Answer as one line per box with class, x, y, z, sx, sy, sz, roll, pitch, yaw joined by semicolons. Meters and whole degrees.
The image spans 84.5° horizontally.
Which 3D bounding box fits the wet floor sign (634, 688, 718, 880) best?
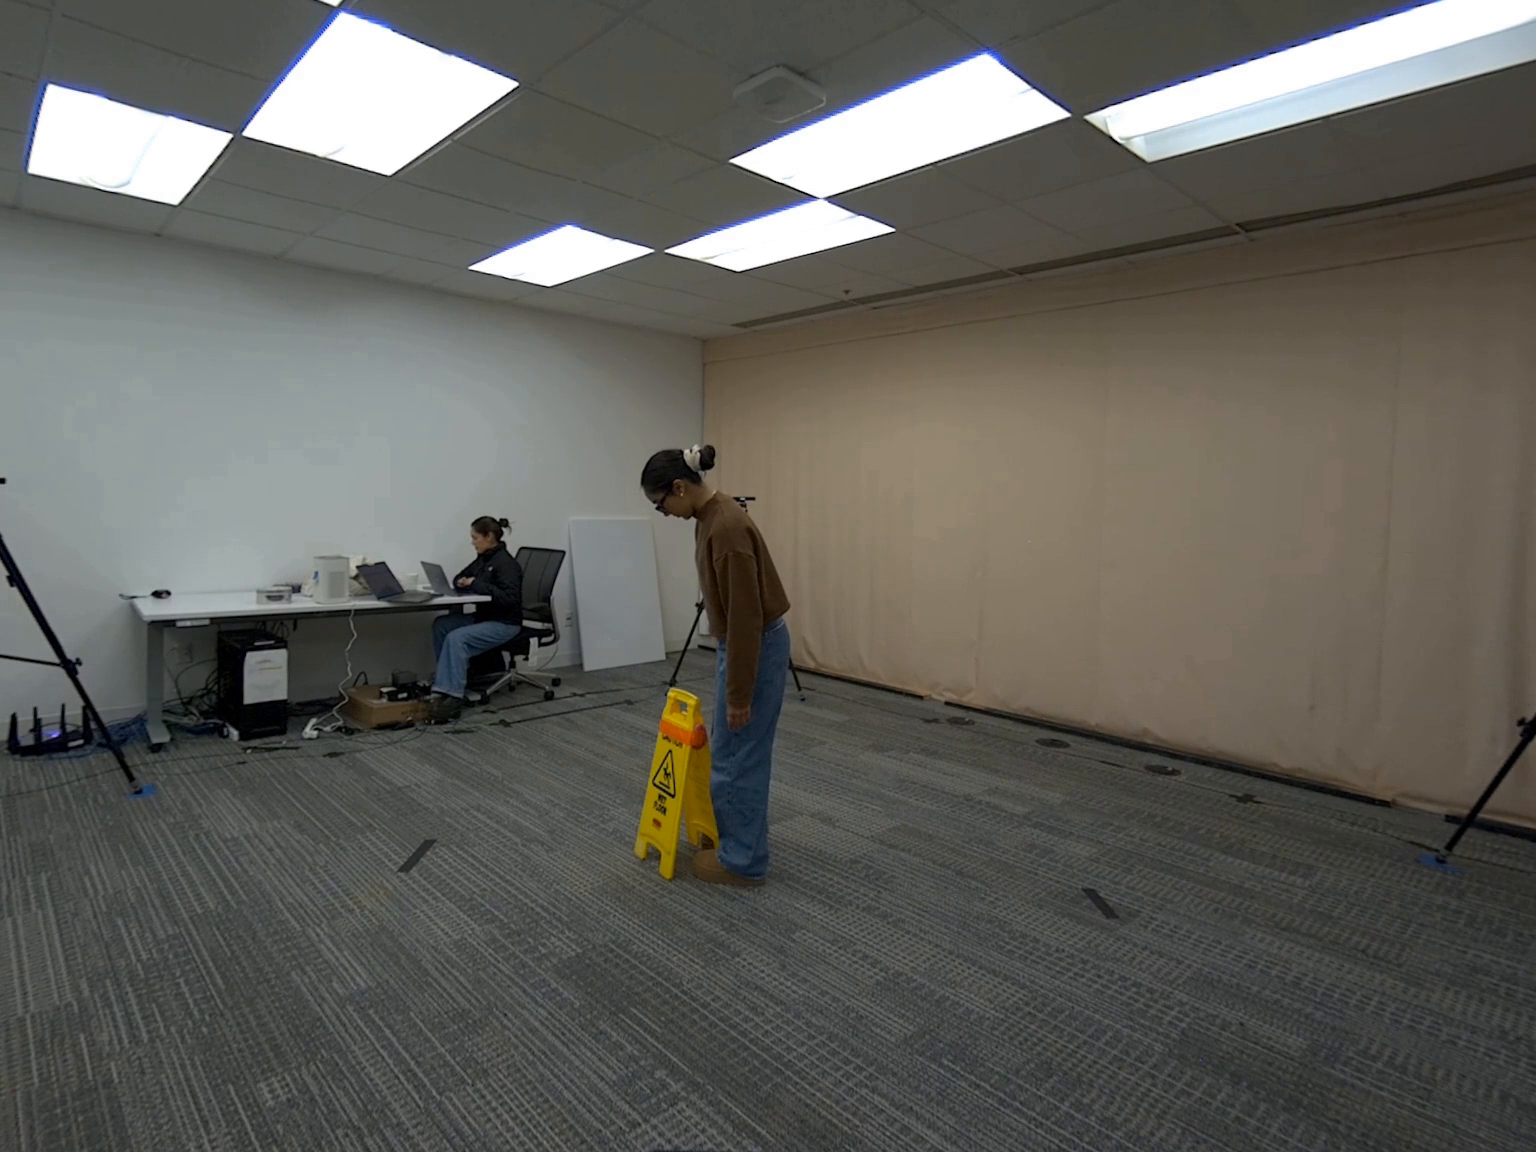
wet floor sign;-0.330;0.767;3.227;0.283;0.644;0.289;-1;5;-37
